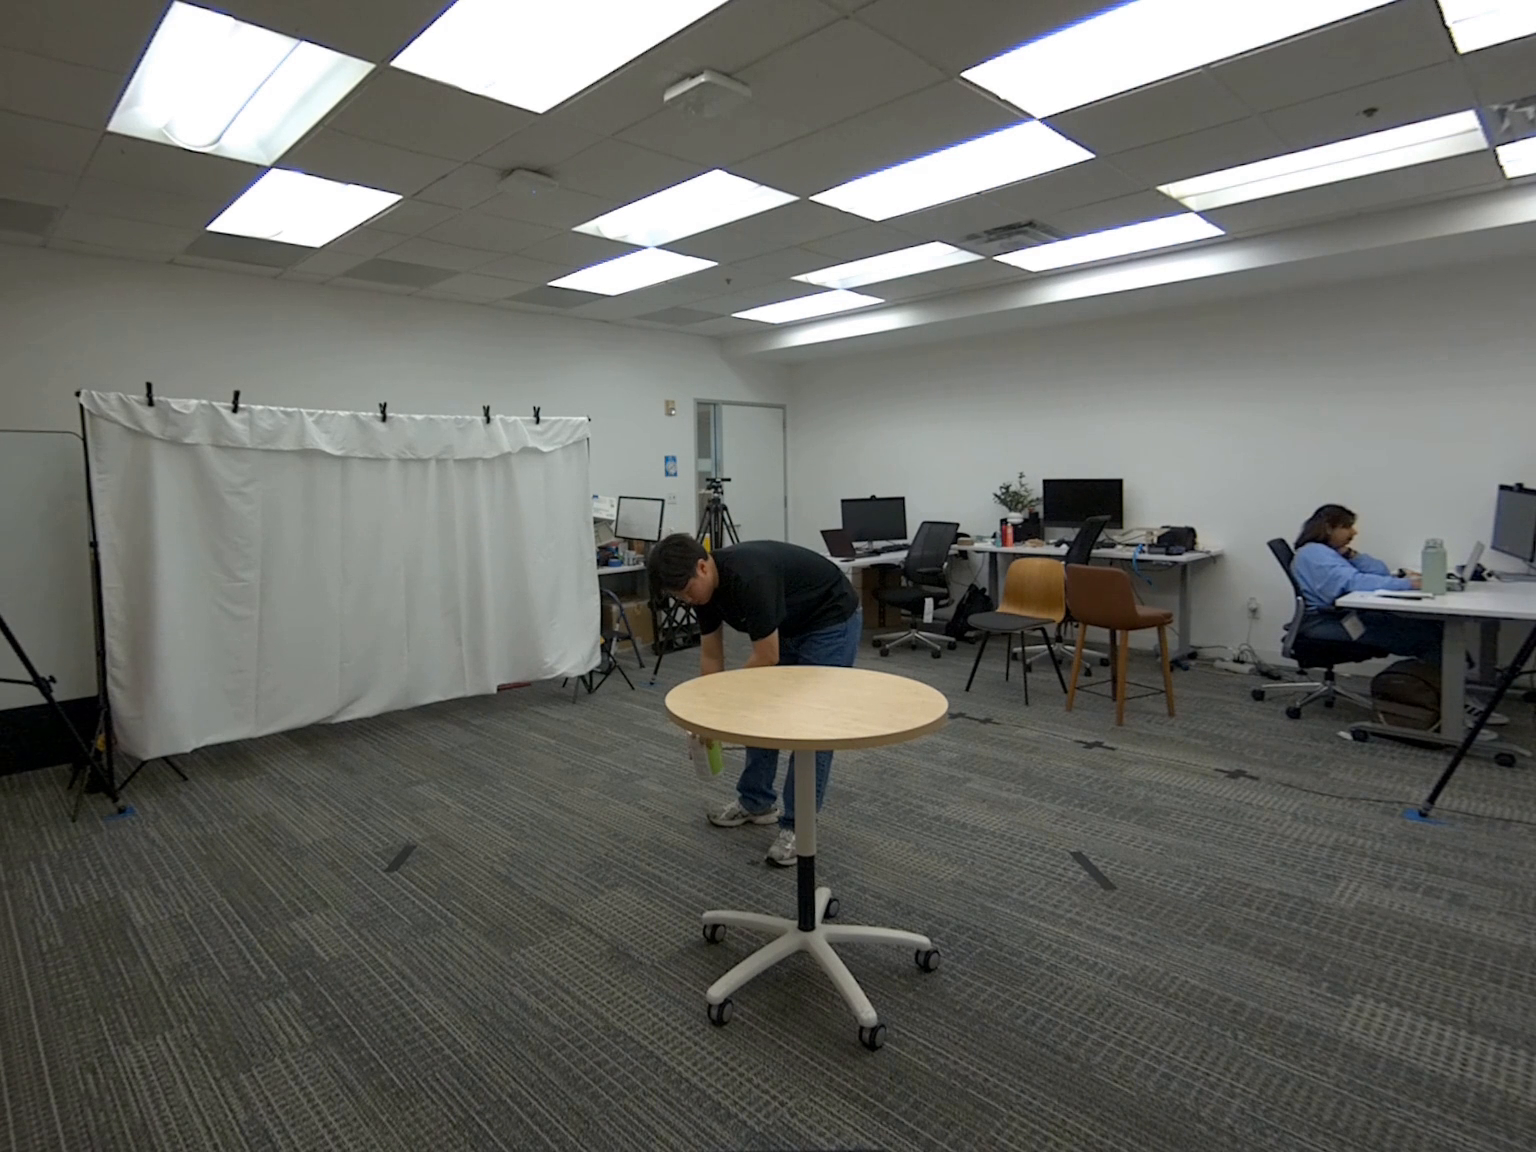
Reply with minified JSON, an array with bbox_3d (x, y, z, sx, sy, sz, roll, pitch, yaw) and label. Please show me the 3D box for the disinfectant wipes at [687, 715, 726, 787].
[{"bbox_3d":[-0.227,0.639,3.145,0.118,0.213,0.120,-4,24,0],"label":"disinfectant wipes"}]
